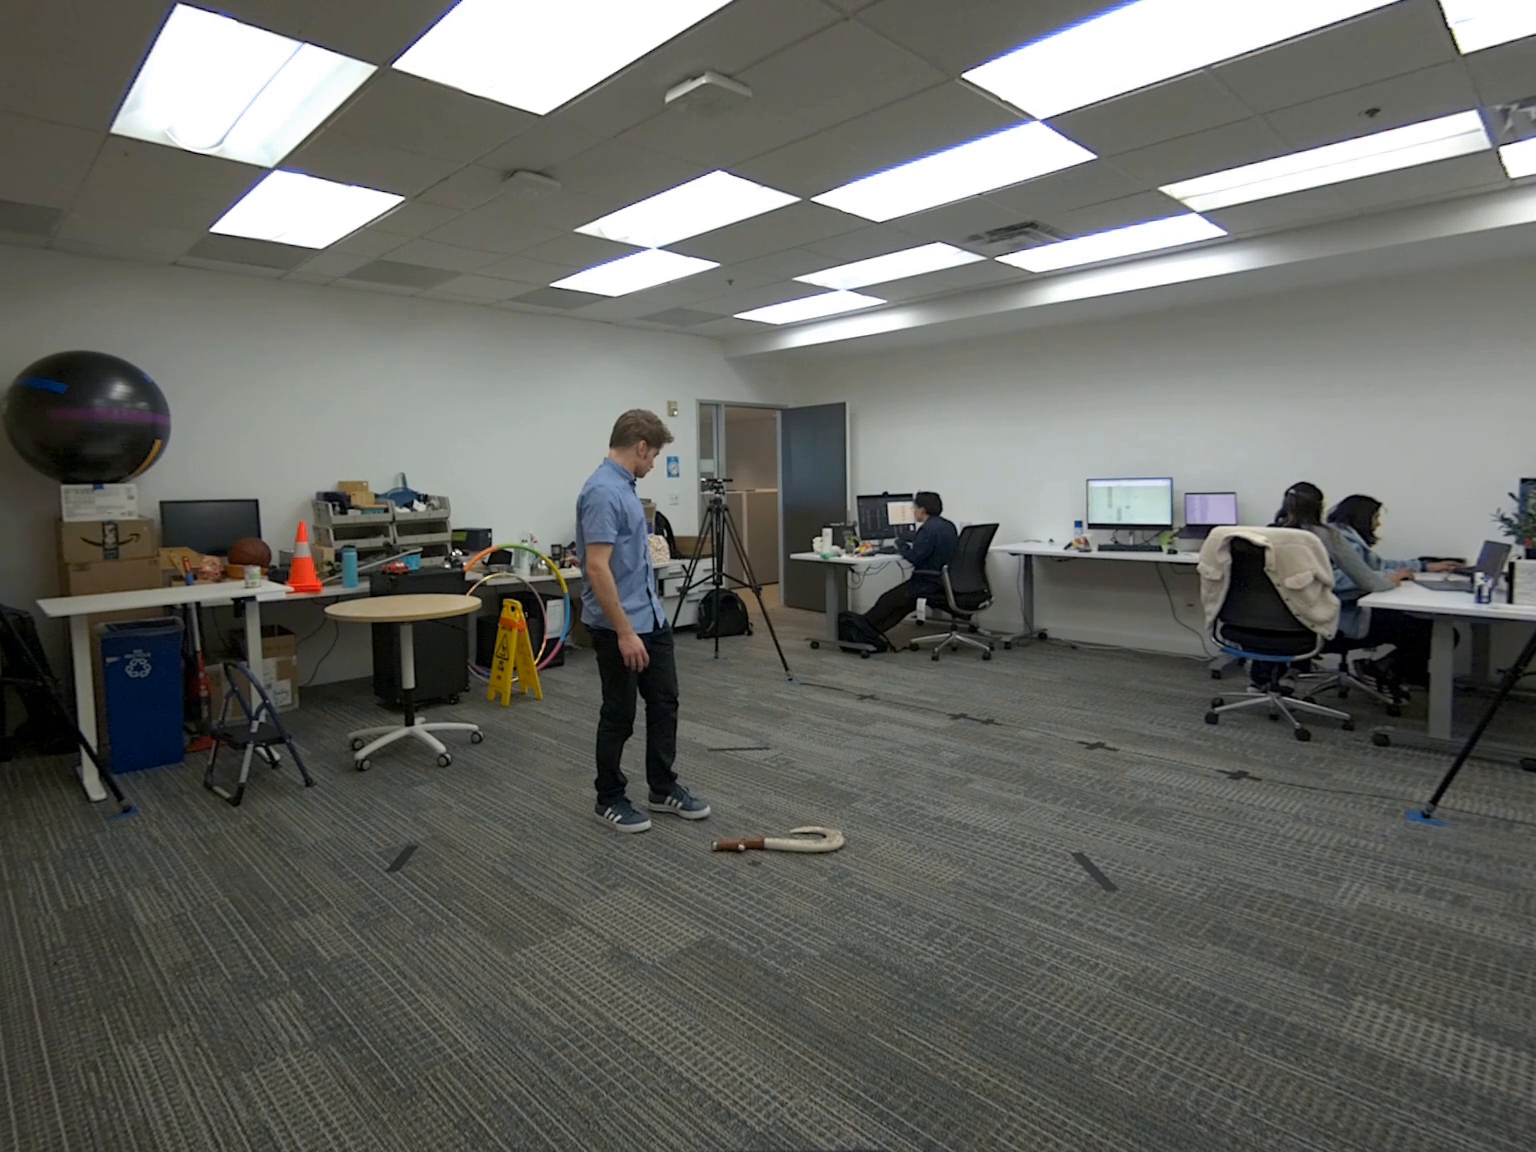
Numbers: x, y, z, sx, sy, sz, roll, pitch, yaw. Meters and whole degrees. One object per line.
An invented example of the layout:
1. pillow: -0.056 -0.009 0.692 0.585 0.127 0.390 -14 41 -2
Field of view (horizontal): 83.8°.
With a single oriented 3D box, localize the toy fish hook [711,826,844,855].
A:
1. toy fish hook: 0.038 1.008 3.272 0.506 0.048 0.224 0 -2 -1
